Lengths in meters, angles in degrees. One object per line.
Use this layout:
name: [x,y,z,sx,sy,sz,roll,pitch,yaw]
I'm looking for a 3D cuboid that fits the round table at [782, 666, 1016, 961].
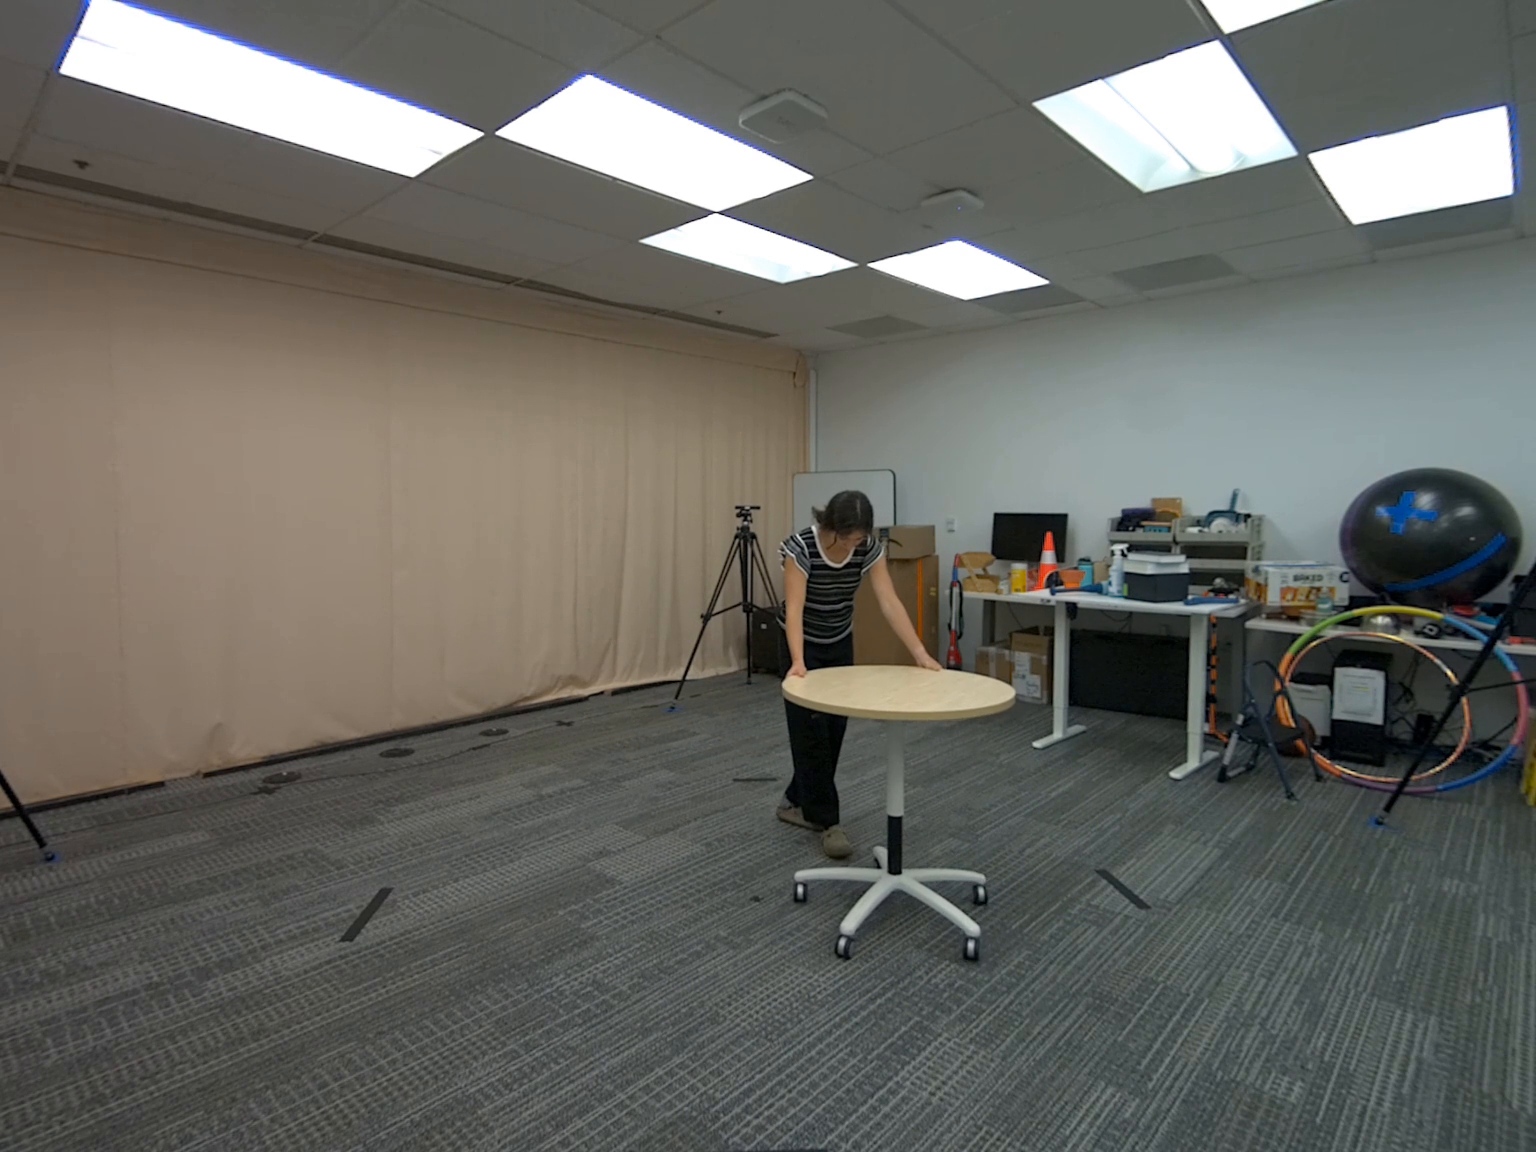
round table: [0.435,0.766,2.855,0.763,0.792,0.766,0,3,-2]
